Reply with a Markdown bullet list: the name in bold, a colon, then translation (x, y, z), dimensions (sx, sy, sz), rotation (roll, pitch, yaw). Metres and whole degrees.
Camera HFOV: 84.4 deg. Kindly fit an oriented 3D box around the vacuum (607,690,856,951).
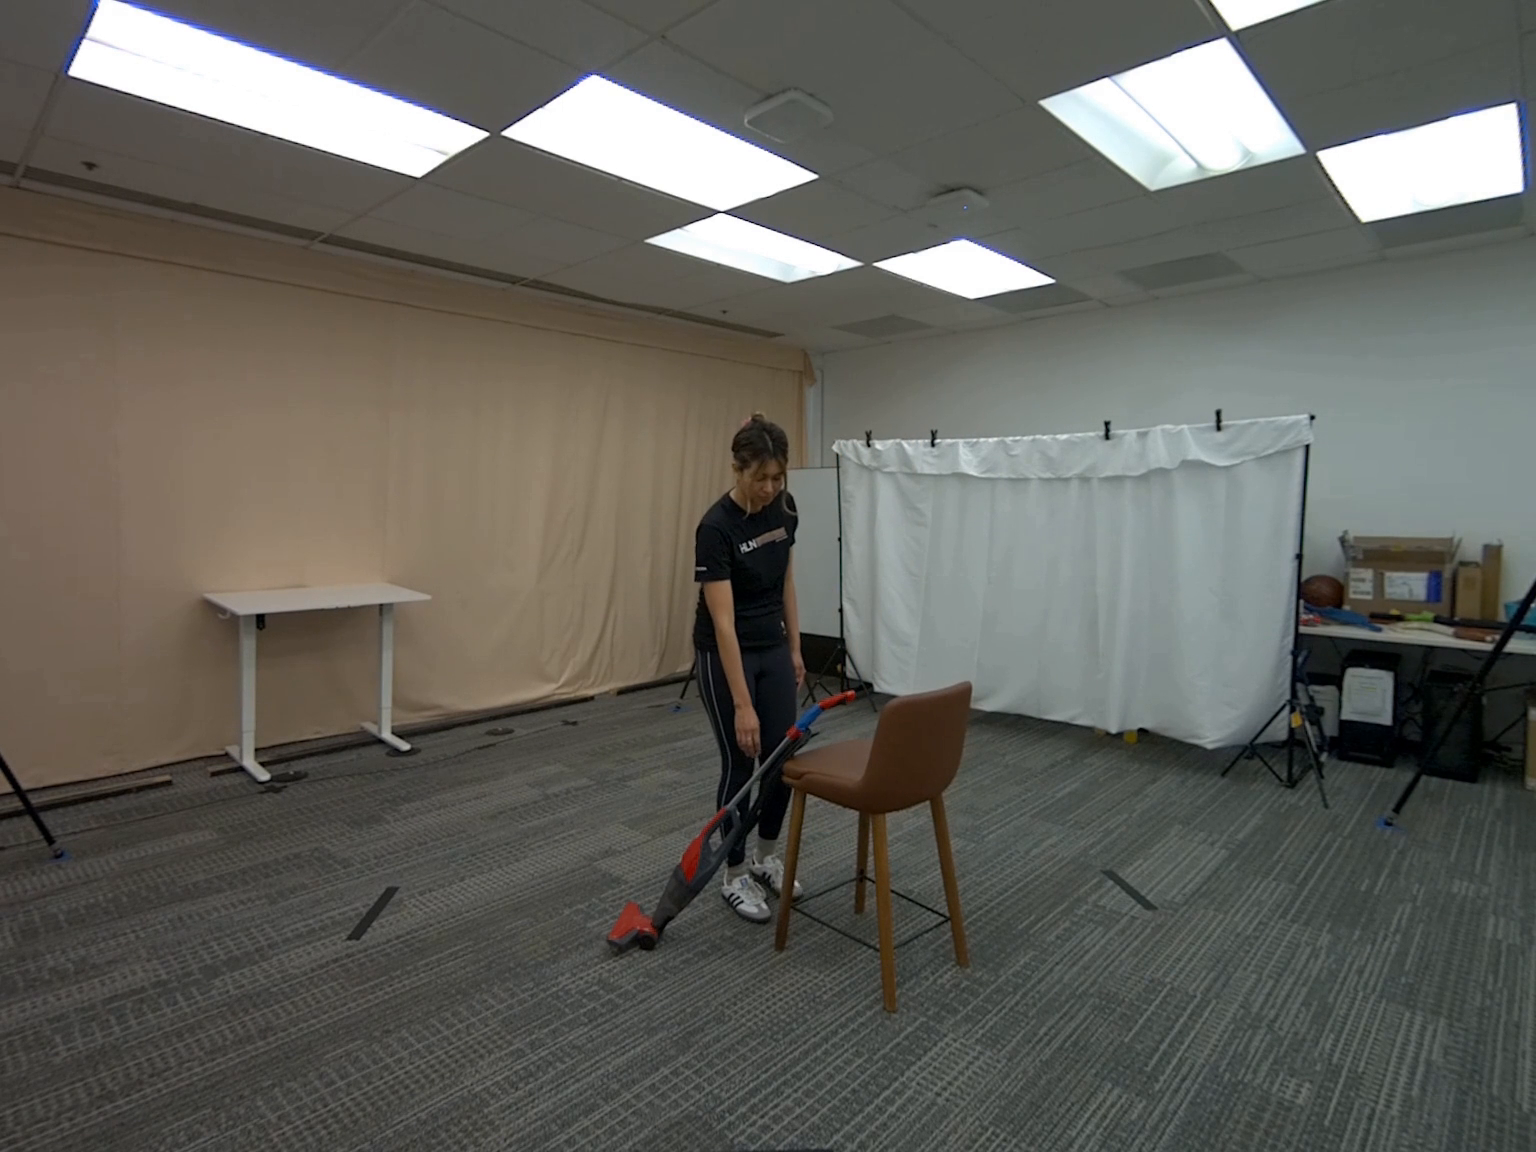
- **vacuum**: translation (-0.094, 0.763, 2.632), dimensions (0.145, 1.051, 0.250), rotation (42, 8, 3)
